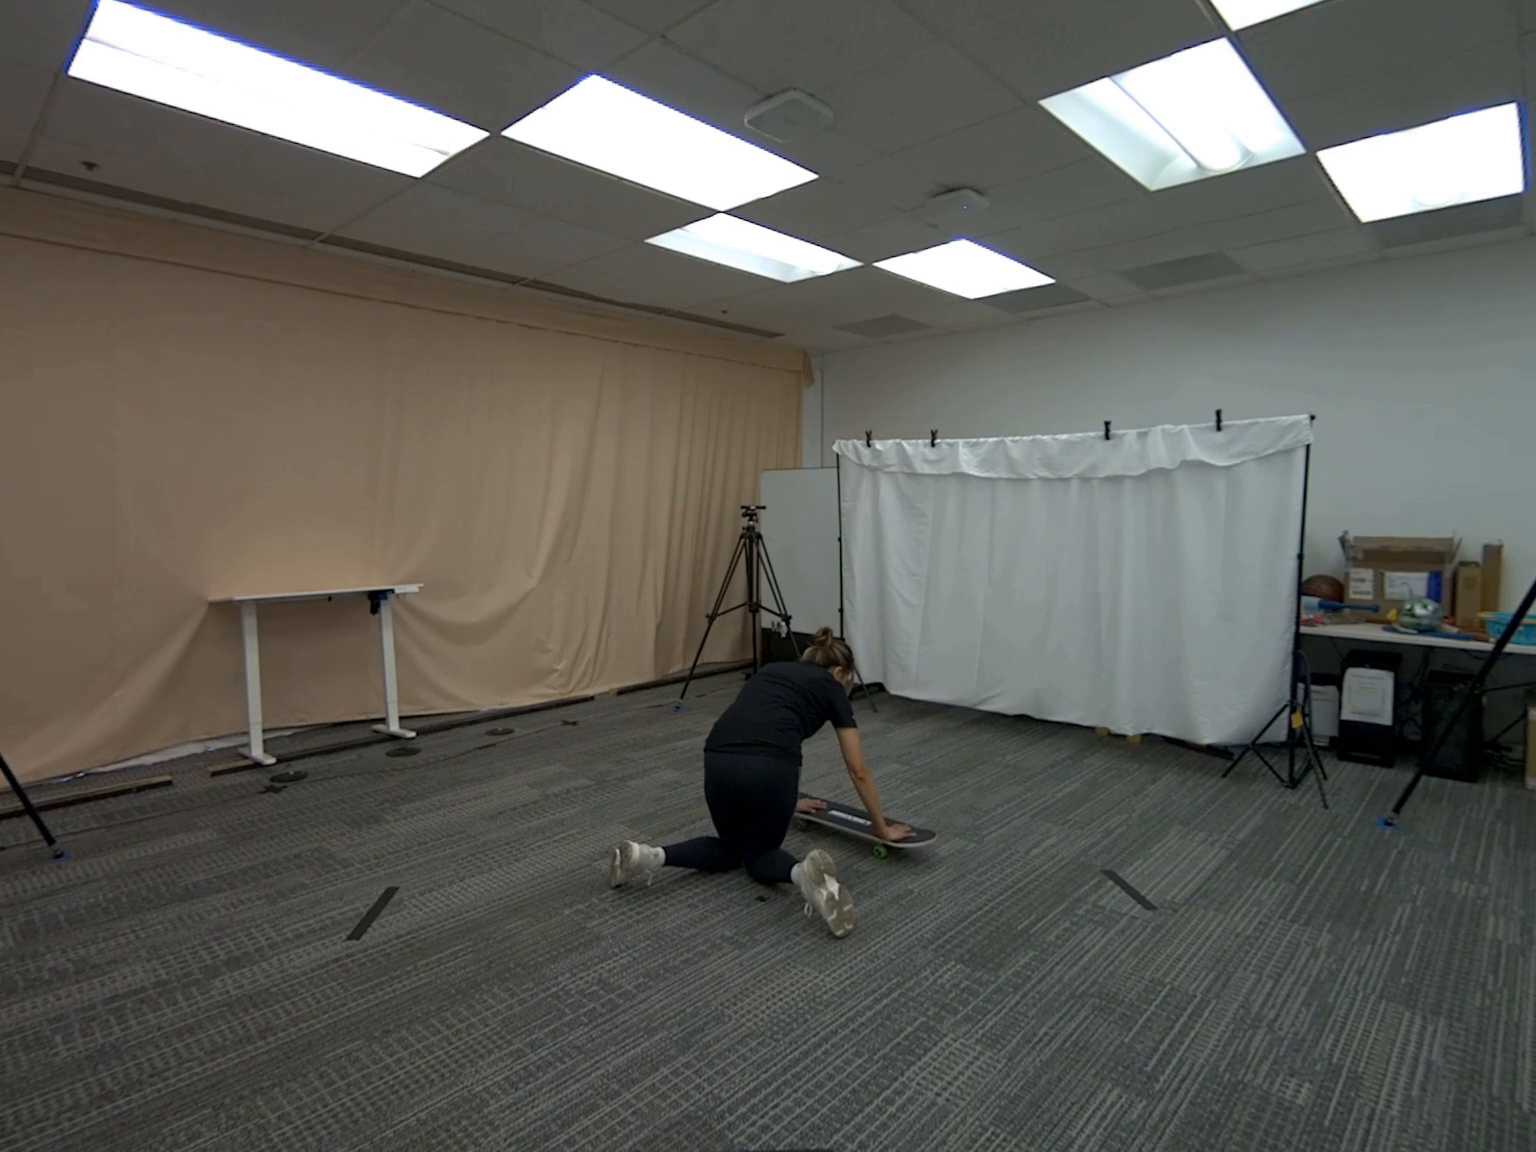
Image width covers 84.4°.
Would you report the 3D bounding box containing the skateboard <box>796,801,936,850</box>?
[{"bbox_3d":[0.347,1.042,3.523,0.812,0.110,0.188,4,8,42],"label":"skateboard"}]
